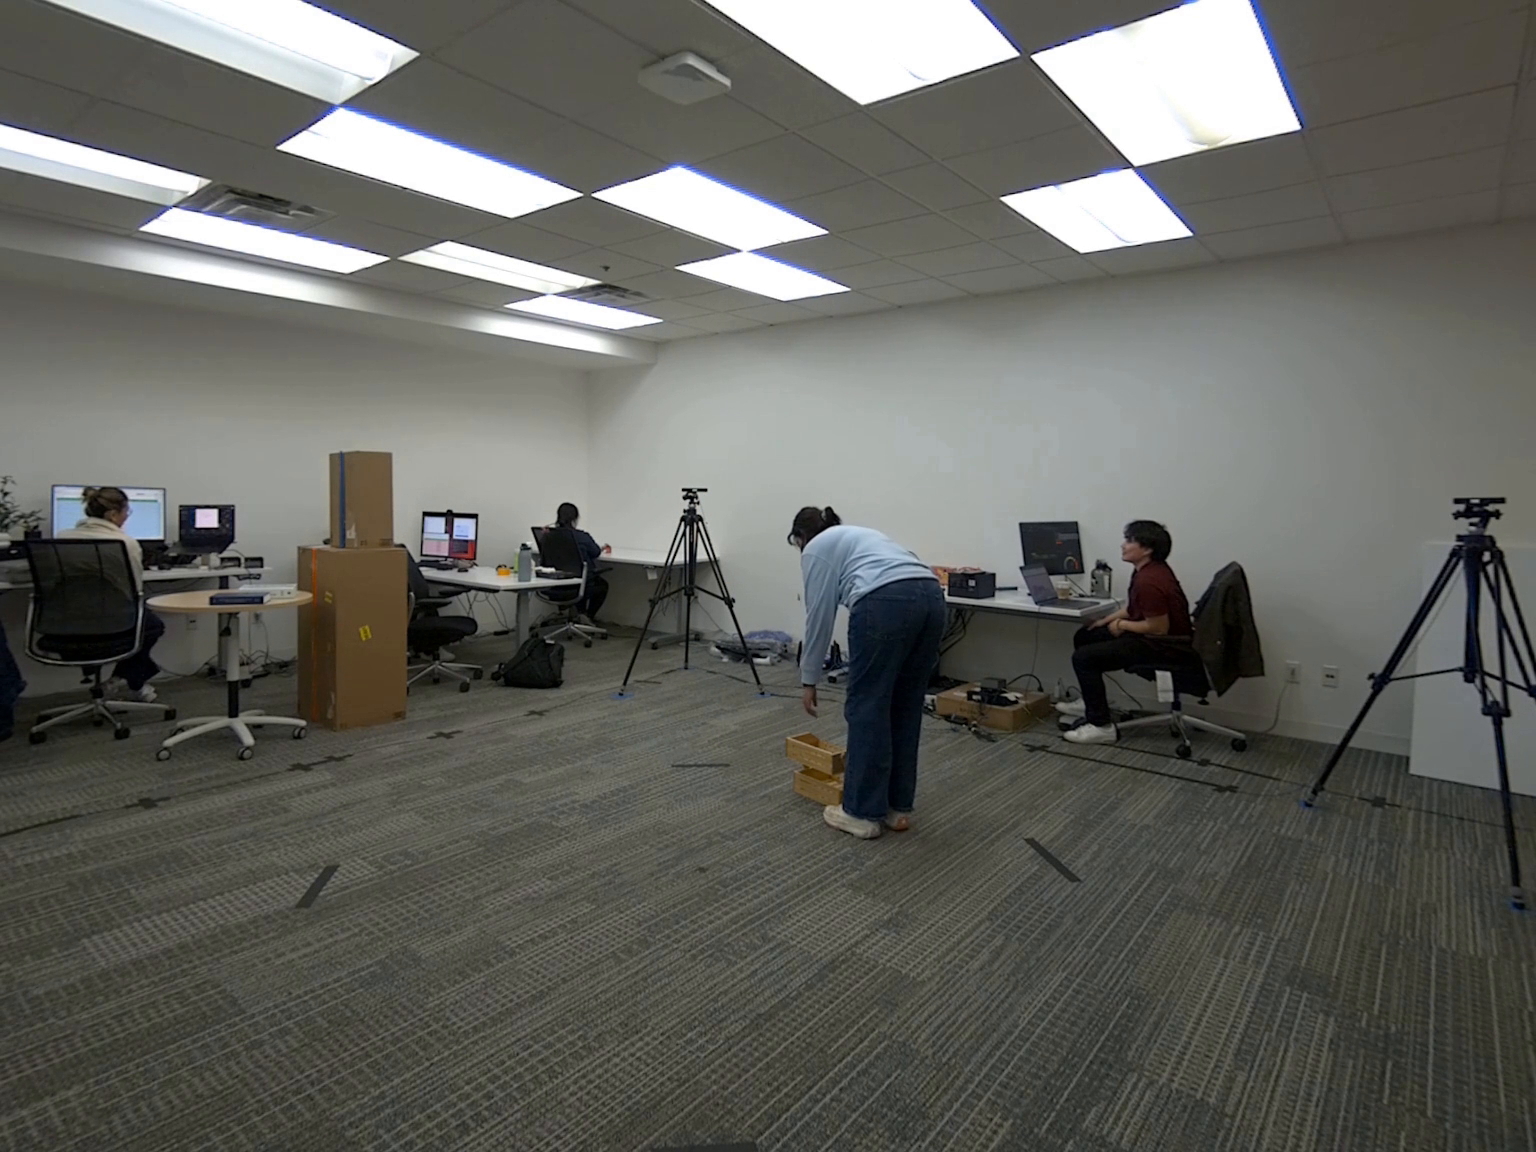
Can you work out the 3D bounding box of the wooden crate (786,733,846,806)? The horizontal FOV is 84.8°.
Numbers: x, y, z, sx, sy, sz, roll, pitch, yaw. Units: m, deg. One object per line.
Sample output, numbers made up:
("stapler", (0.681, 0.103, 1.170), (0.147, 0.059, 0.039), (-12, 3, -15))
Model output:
("wooden crate", (0.285, 0.873, 3.888), (0.293, 0.272, 0.335), (-3, 7, -39))
